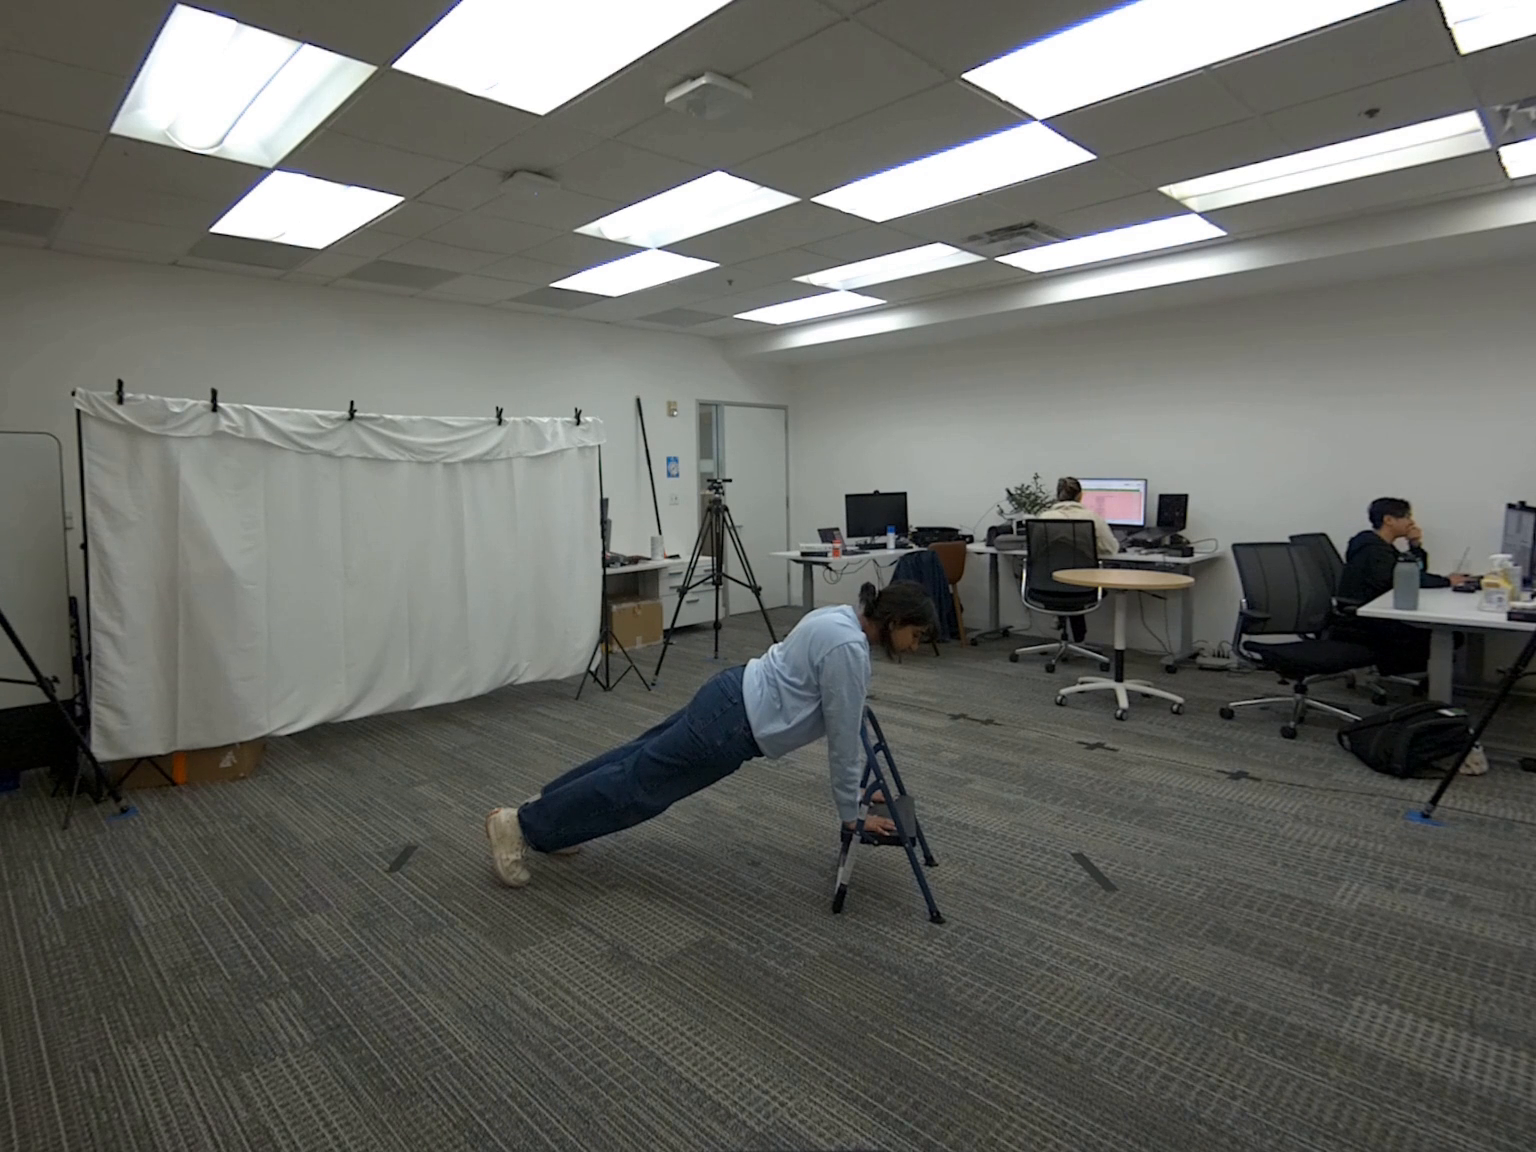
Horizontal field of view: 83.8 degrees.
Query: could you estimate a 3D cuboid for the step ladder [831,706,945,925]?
[{"bbox_3d":[0.403,0.758,2.889,0.353,0.604,0.428,0,4,9],"label":"step ladder"}]
